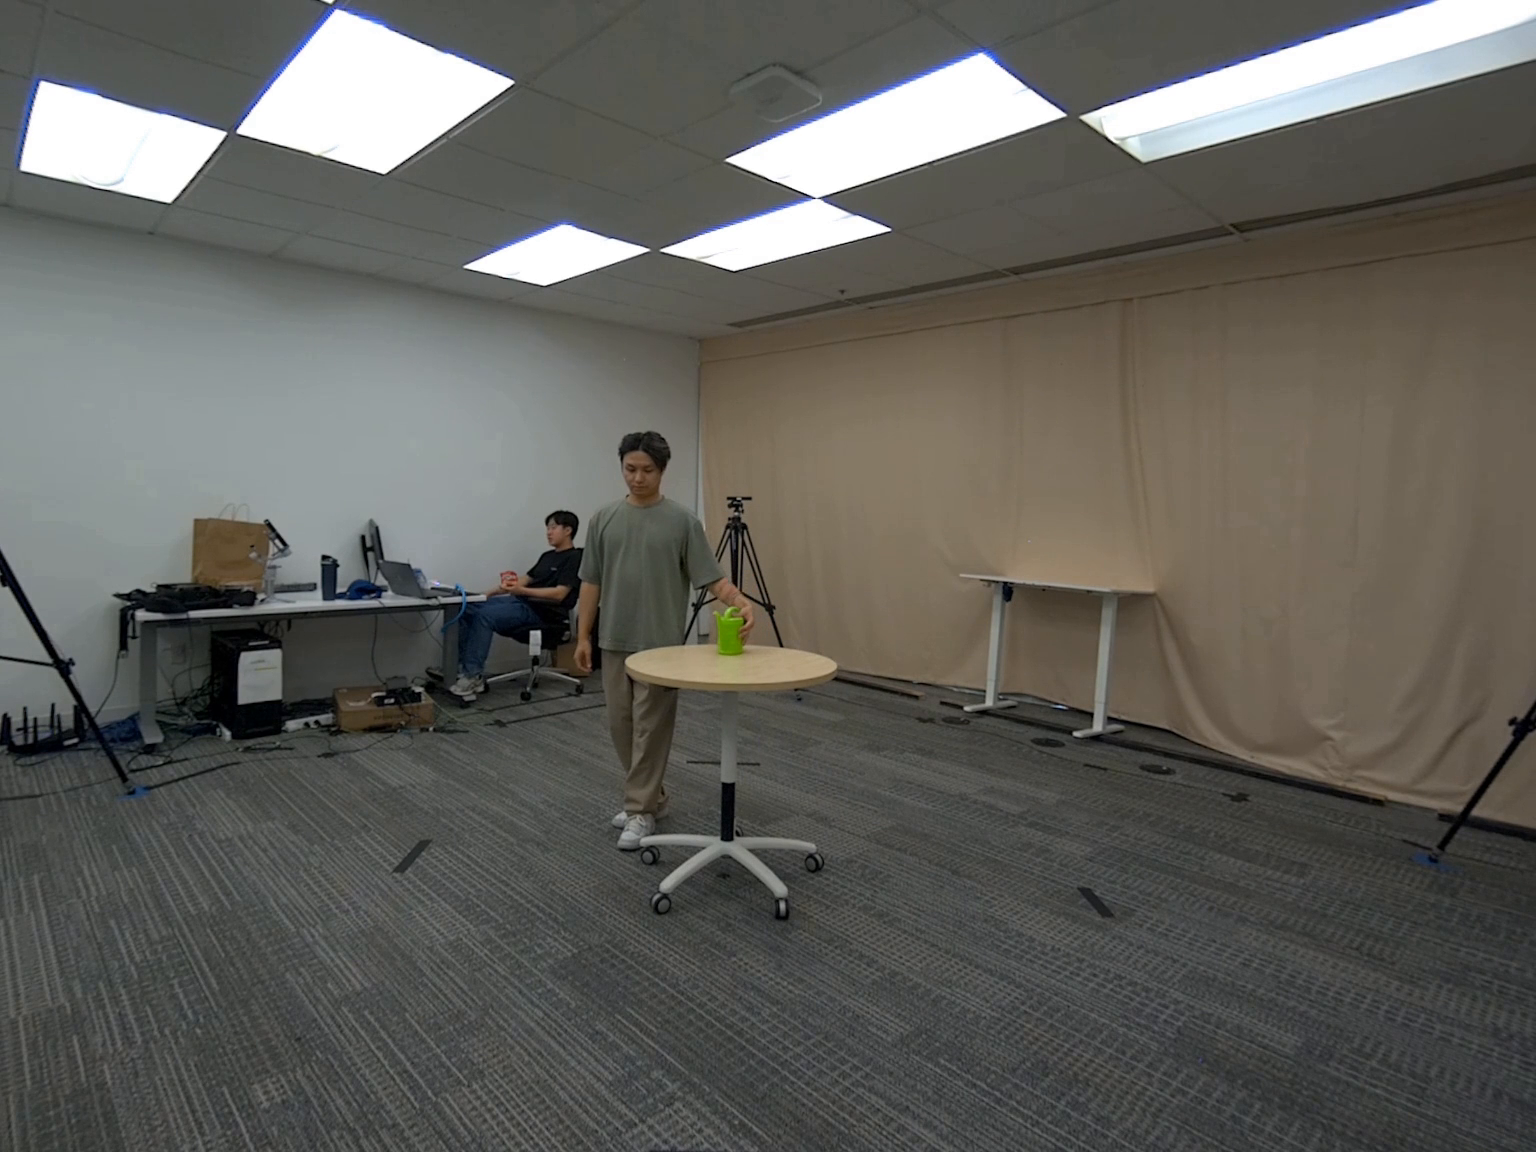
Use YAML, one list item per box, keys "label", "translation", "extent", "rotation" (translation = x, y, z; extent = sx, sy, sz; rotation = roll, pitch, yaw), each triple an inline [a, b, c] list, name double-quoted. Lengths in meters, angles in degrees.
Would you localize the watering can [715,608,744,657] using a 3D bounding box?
- label: "watering can"
  translation: [-0.171, 0.213, 3.205]
  extent: [0.100, 0.176, 0.272]
  rotation: [3, 3, 33]
